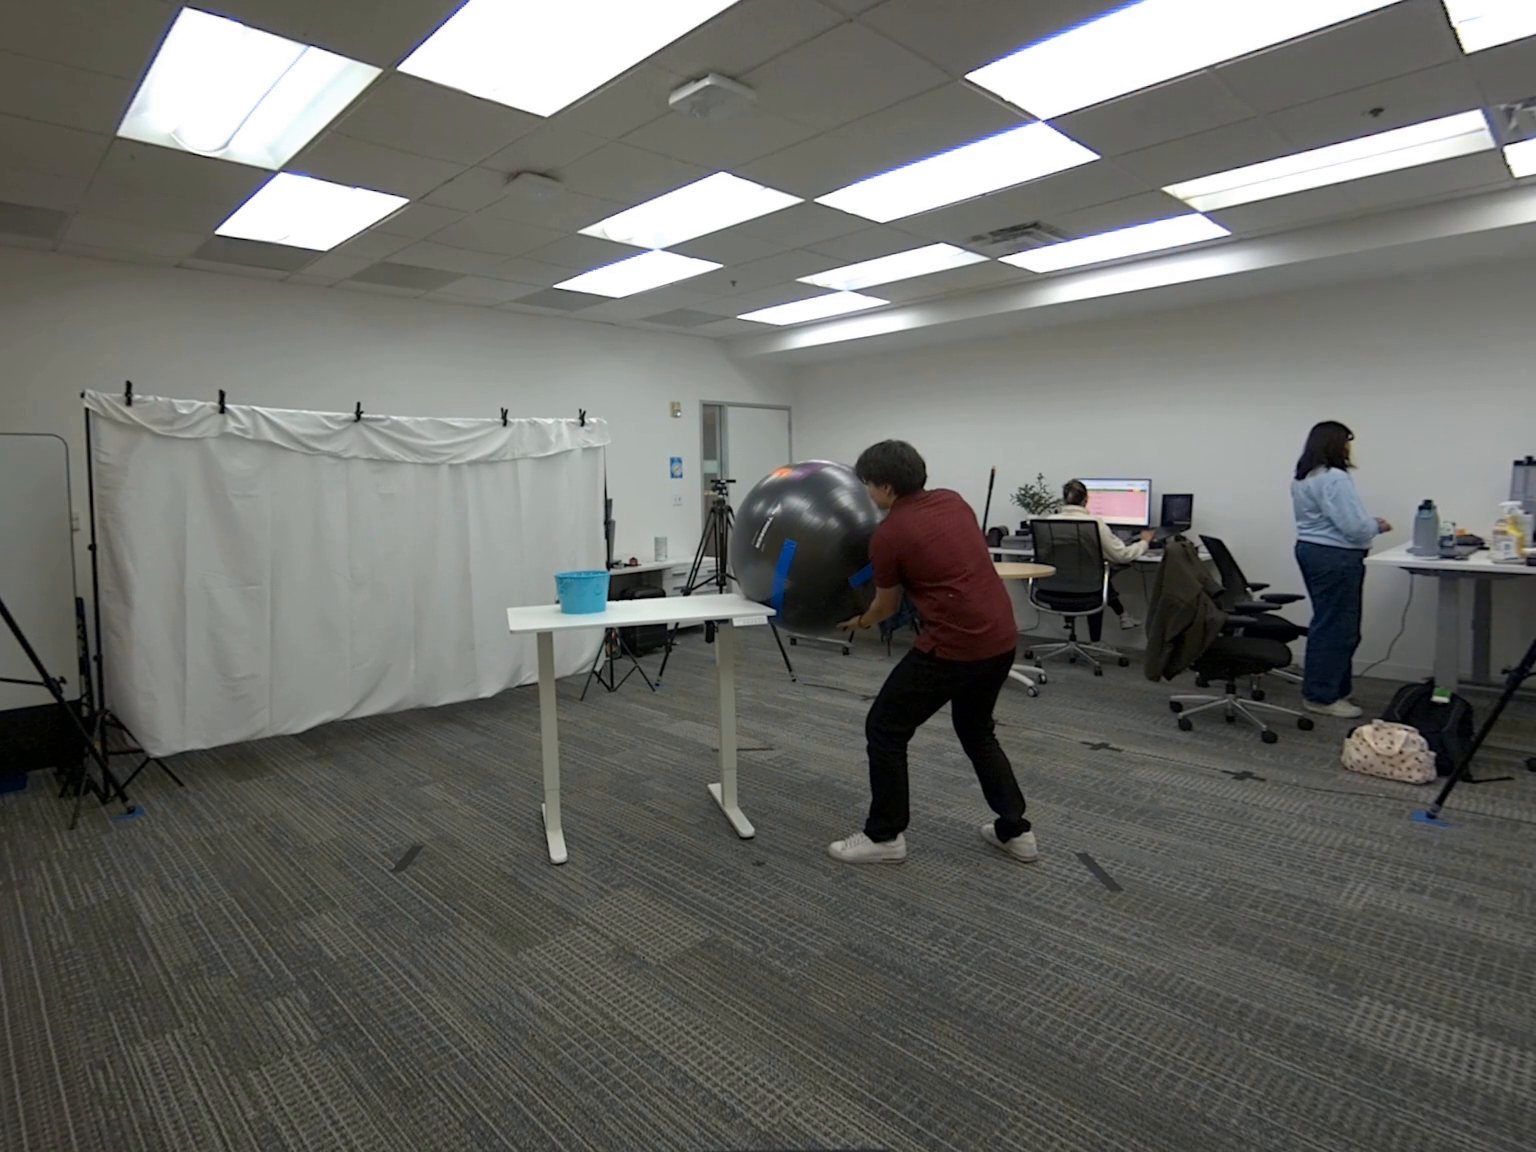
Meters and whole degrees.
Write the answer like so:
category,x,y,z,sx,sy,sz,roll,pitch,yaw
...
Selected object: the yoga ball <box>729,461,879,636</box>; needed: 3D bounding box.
category,x,y,z,sx,sy,sz,roll,pitch,yaw
yoga ball,0.213,-0.120,3.710,0.757,0.755,0.762,-1,5,-2
